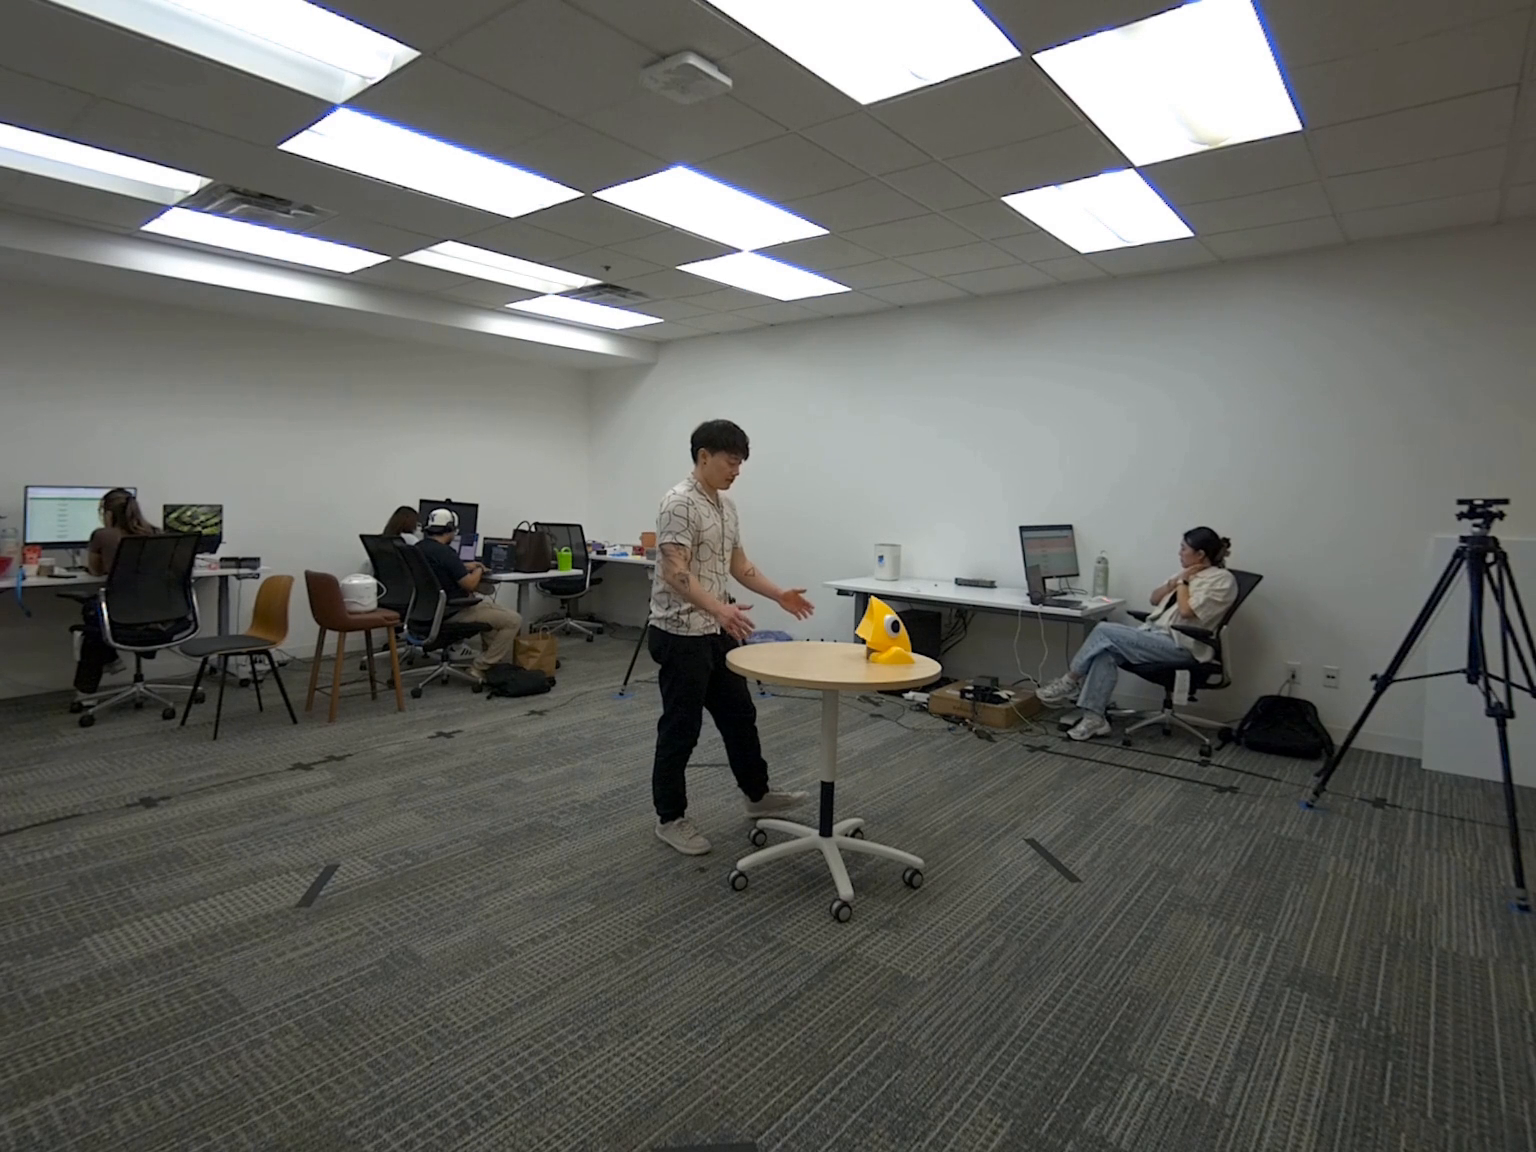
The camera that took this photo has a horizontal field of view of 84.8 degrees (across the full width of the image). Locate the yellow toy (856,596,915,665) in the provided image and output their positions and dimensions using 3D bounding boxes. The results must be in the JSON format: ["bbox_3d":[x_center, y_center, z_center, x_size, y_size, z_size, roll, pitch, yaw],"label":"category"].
[{"bbox_3d":[0.437,0.188,3.109,0.192,0.230,0.206,1,4,-6],"label":"yellow toy"}]
